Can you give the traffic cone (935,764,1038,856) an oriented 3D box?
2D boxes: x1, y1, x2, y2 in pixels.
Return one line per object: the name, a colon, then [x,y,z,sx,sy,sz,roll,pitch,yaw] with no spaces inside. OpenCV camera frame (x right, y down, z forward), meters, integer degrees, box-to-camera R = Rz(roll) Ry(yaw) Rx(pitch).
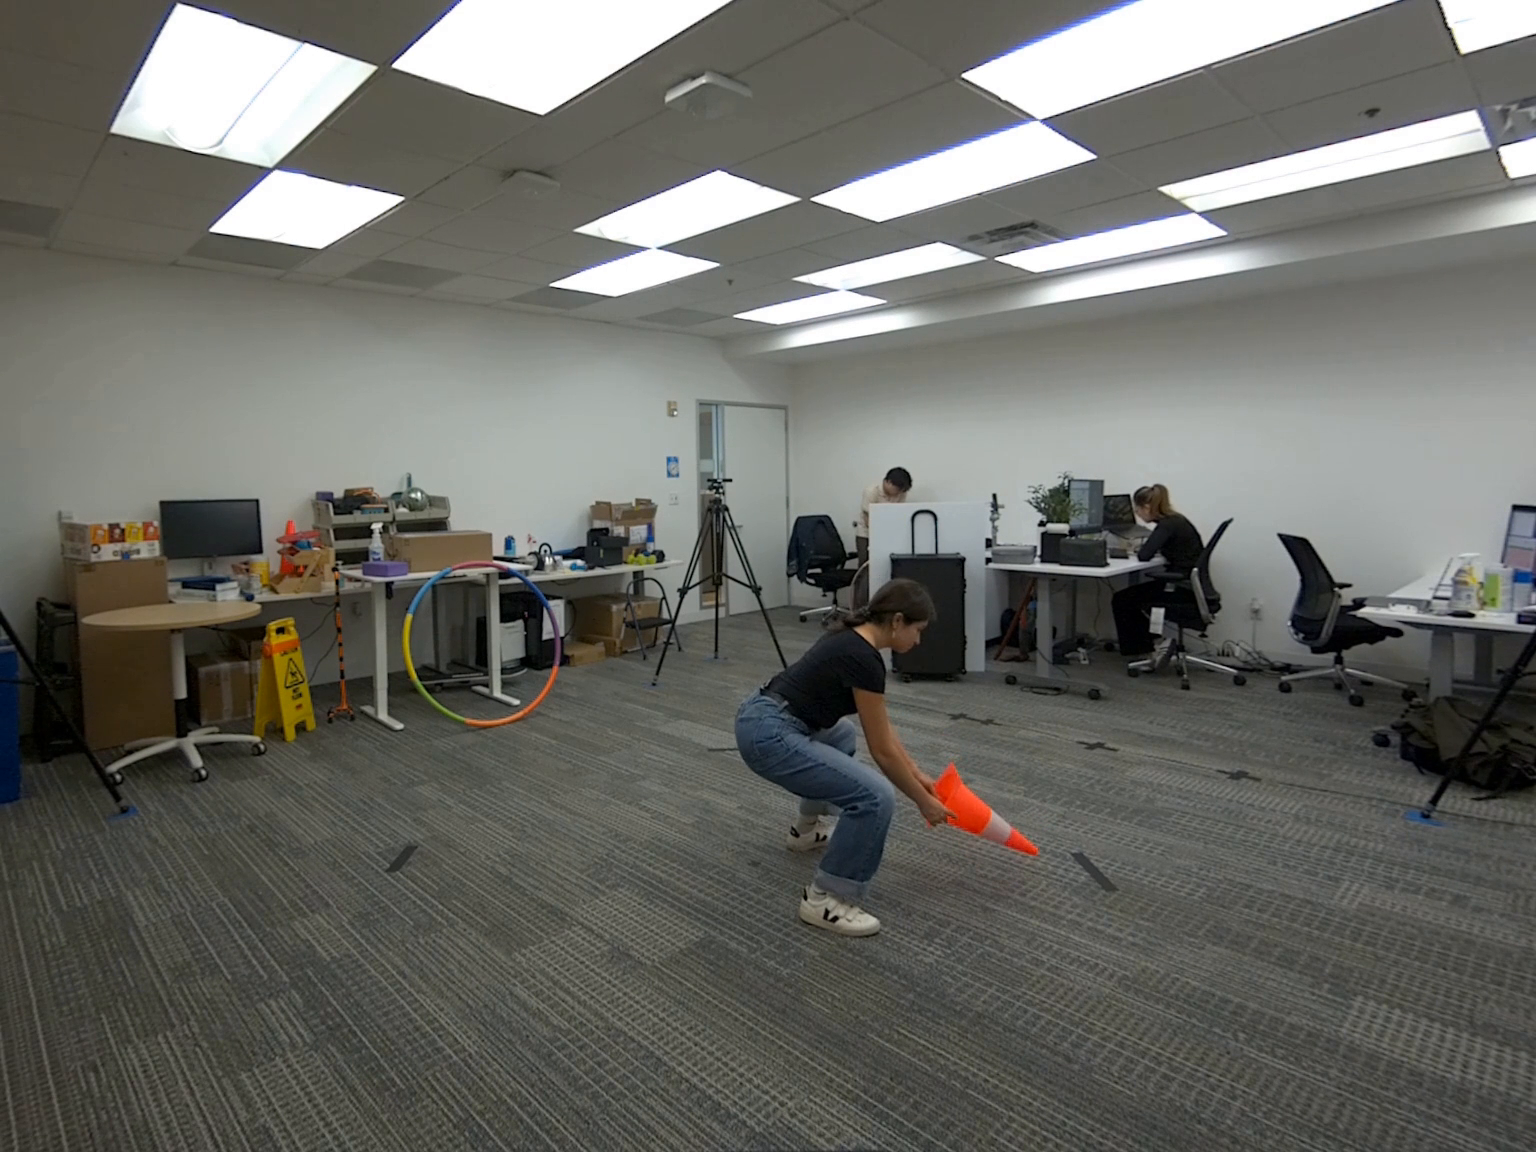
traffic cone: [0.752,0.836,2.930,0.384,0.204,0.204,31,8,0]
